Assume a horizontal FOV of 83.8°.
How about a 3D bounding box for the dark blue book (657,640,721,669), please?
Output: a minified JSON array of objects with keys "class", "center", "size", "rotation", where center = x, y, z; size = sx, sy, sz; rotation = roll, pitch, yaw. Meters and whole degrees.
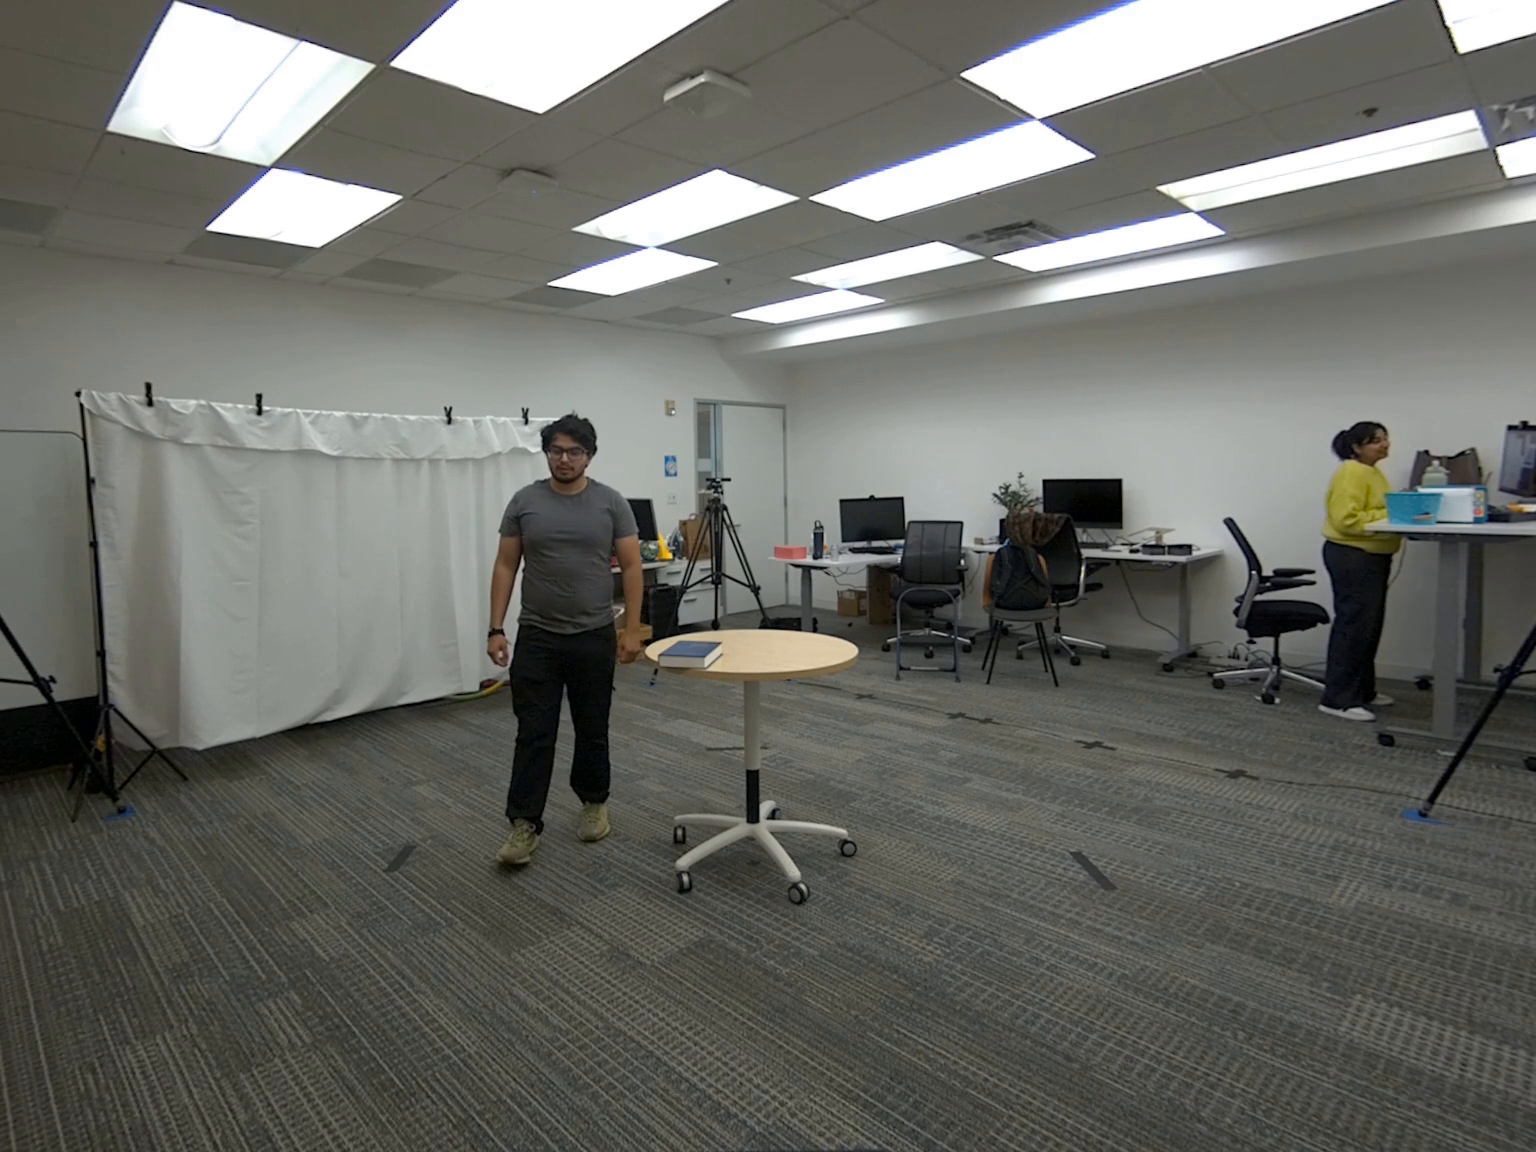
[{"class":"dark blue book","center":[-0.256,0.264,2.900],"size":[0.165,0.045,0.243],"rotation":[1,6,11]}]
